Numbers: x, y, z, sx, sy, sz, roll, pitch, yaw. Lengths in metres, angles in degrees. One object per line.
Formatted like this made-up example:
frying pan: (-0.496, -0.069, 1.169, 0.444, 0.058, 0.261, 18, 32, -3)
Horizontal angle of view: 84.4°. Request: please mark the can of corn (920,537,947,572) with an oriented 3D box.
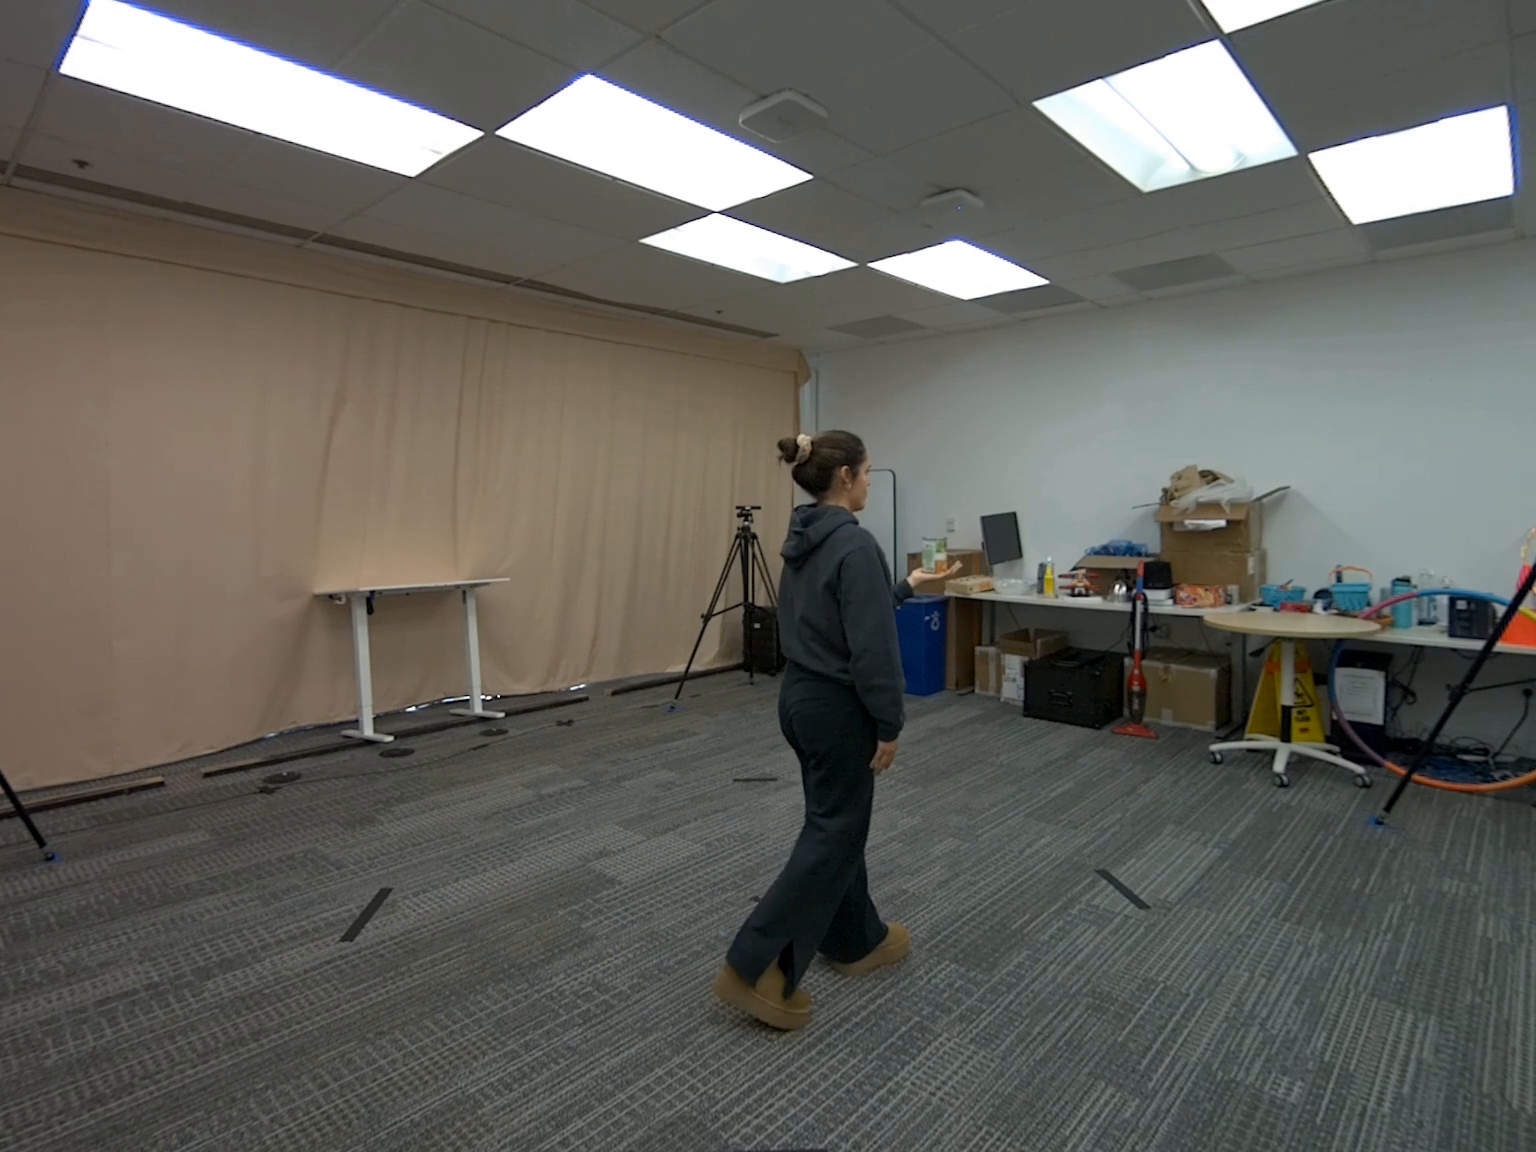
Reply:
can of corn: (0.518, -0.068, 2.626, 0.074, 0.110, 0.074, -2, 6, -2)
